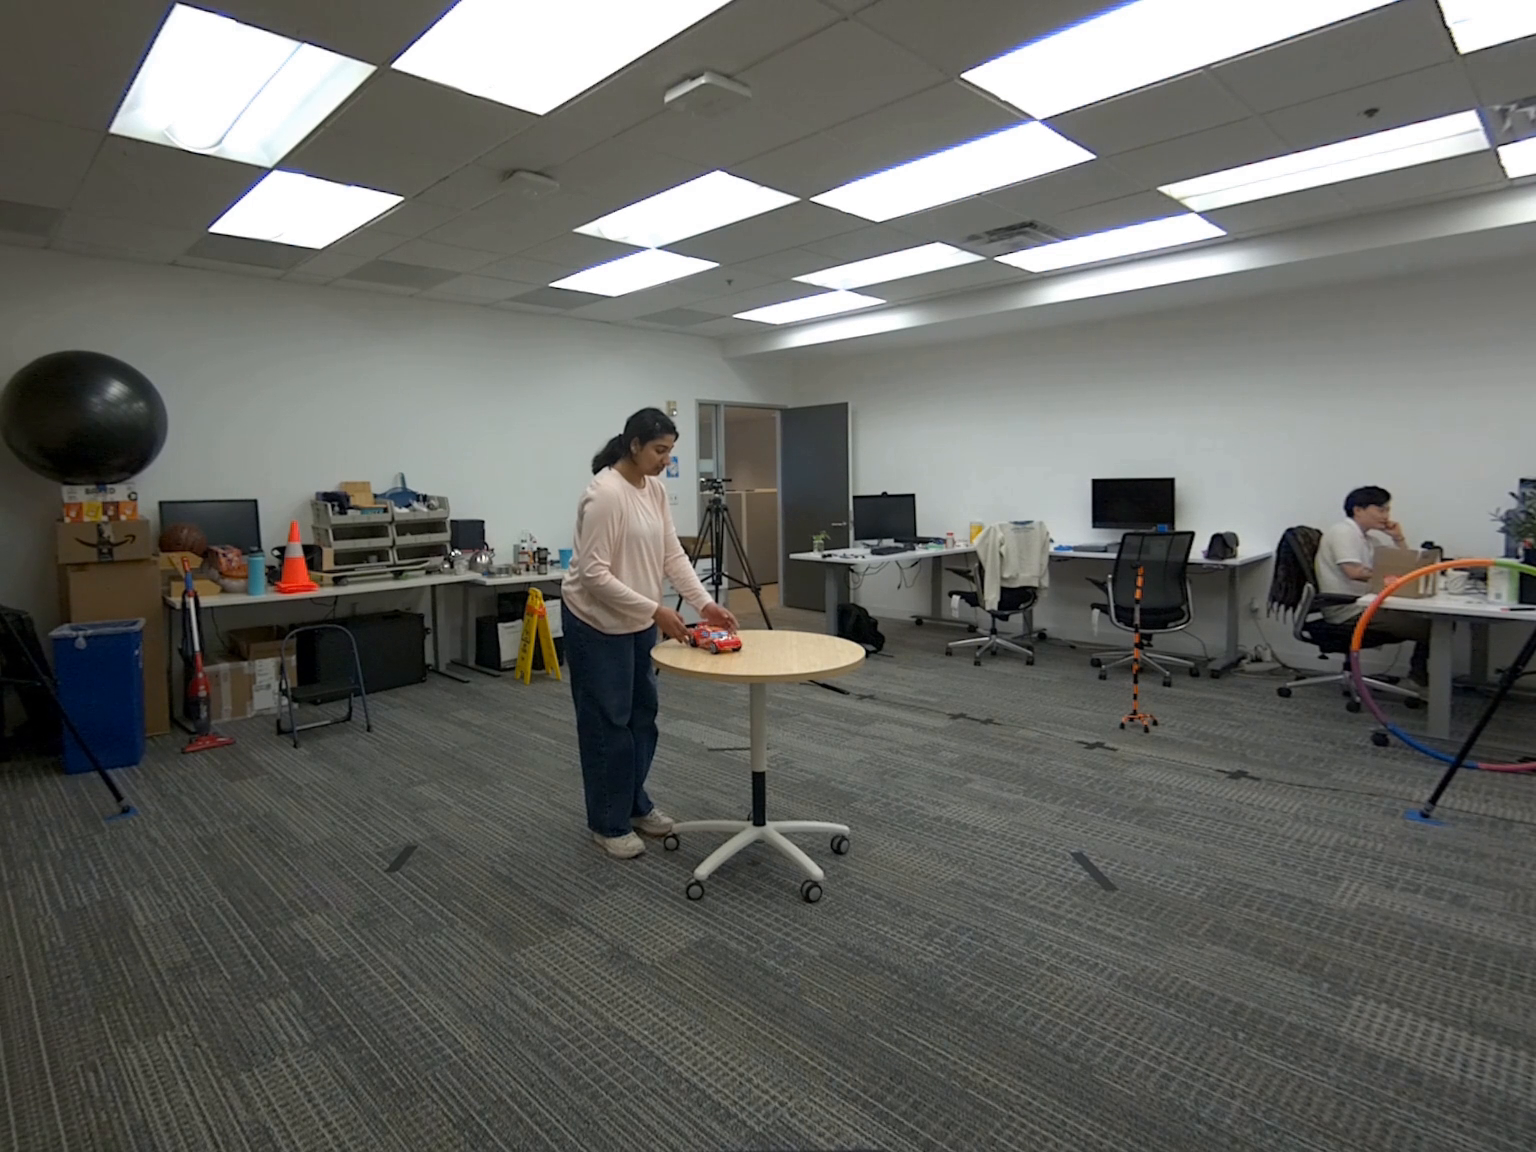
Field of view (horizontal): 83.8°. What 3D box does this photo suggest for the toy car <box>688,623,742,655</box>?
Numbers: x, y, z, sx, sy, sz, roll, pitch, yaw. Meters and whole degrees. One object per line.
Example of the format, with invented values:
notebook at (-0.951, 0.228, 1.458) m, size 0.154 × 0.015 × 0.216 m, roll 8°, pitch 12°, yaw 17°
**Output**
toy car at (-0.203, 0.230, 3.096) m, size 0.127 × 0.082 × 0.264 m, roll -4°, pitch 18°, yaw -33°
